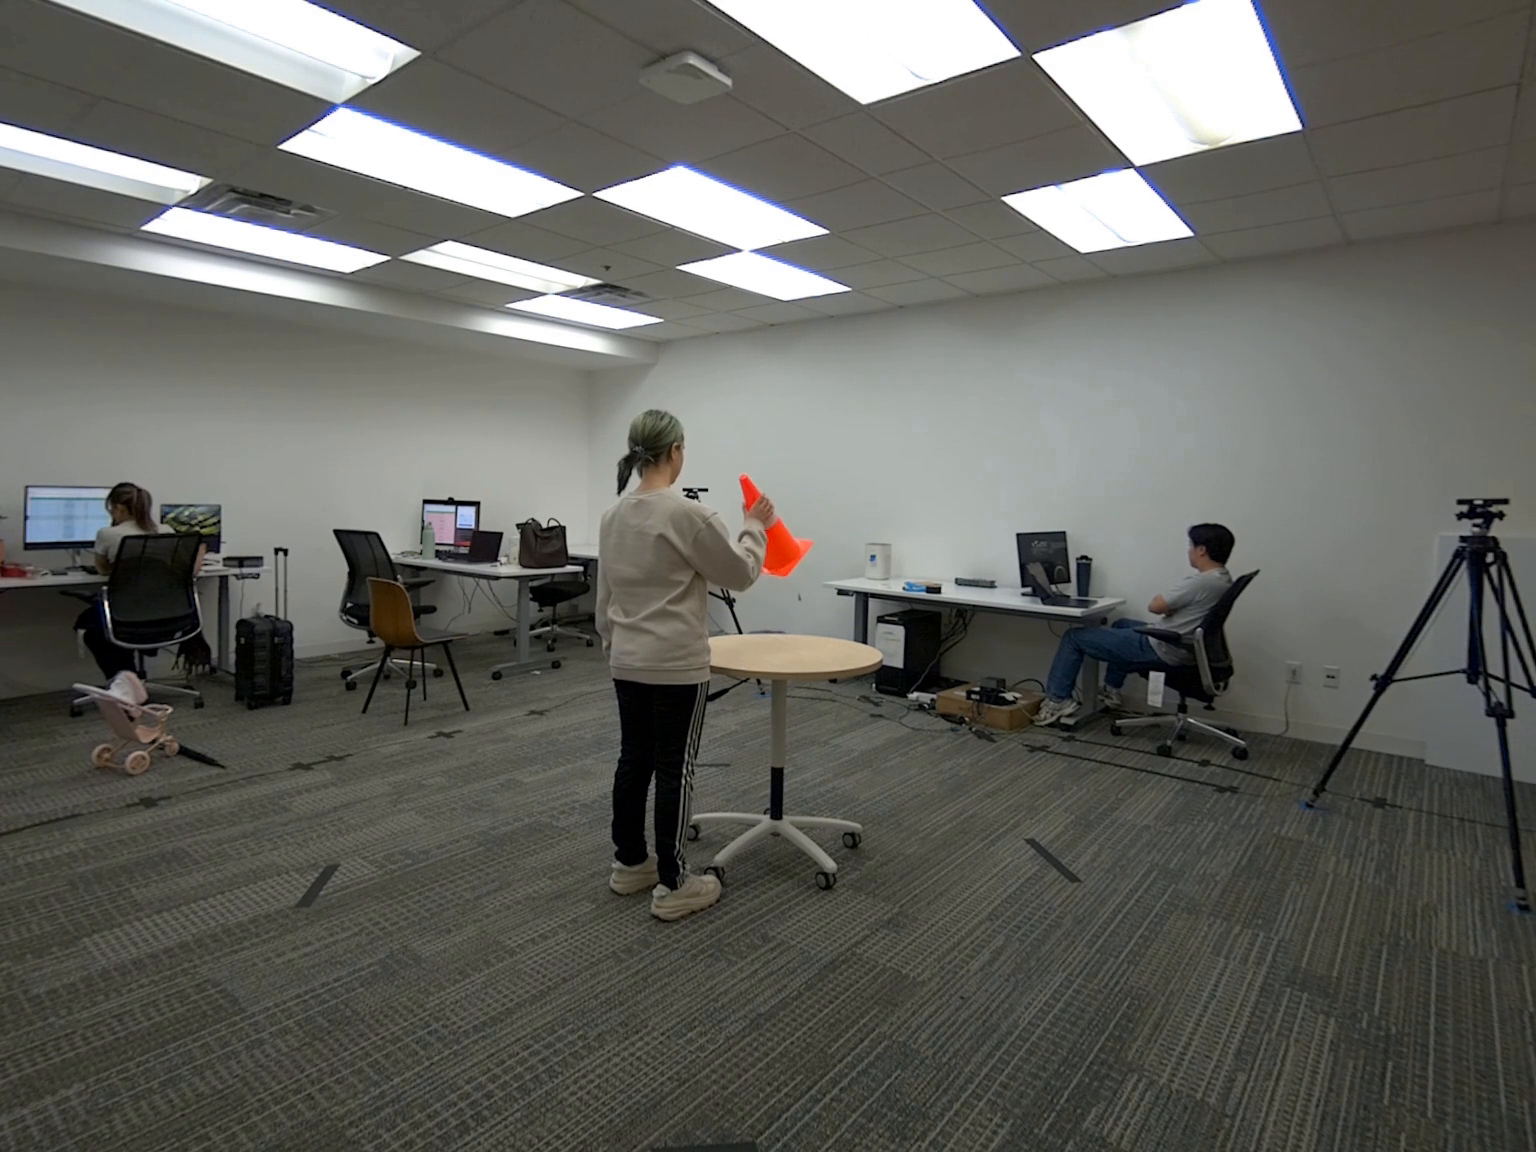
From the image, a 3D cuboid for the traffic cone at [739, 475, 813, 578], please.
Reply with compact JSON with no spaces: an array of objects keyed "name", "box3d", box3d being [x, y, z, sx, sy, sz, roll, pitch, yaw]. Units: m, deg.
[{"name":"traffic cone","box3d":[-0.033,-0.209,3.073,0.212,0.370,0.203,8,47,41]}]
